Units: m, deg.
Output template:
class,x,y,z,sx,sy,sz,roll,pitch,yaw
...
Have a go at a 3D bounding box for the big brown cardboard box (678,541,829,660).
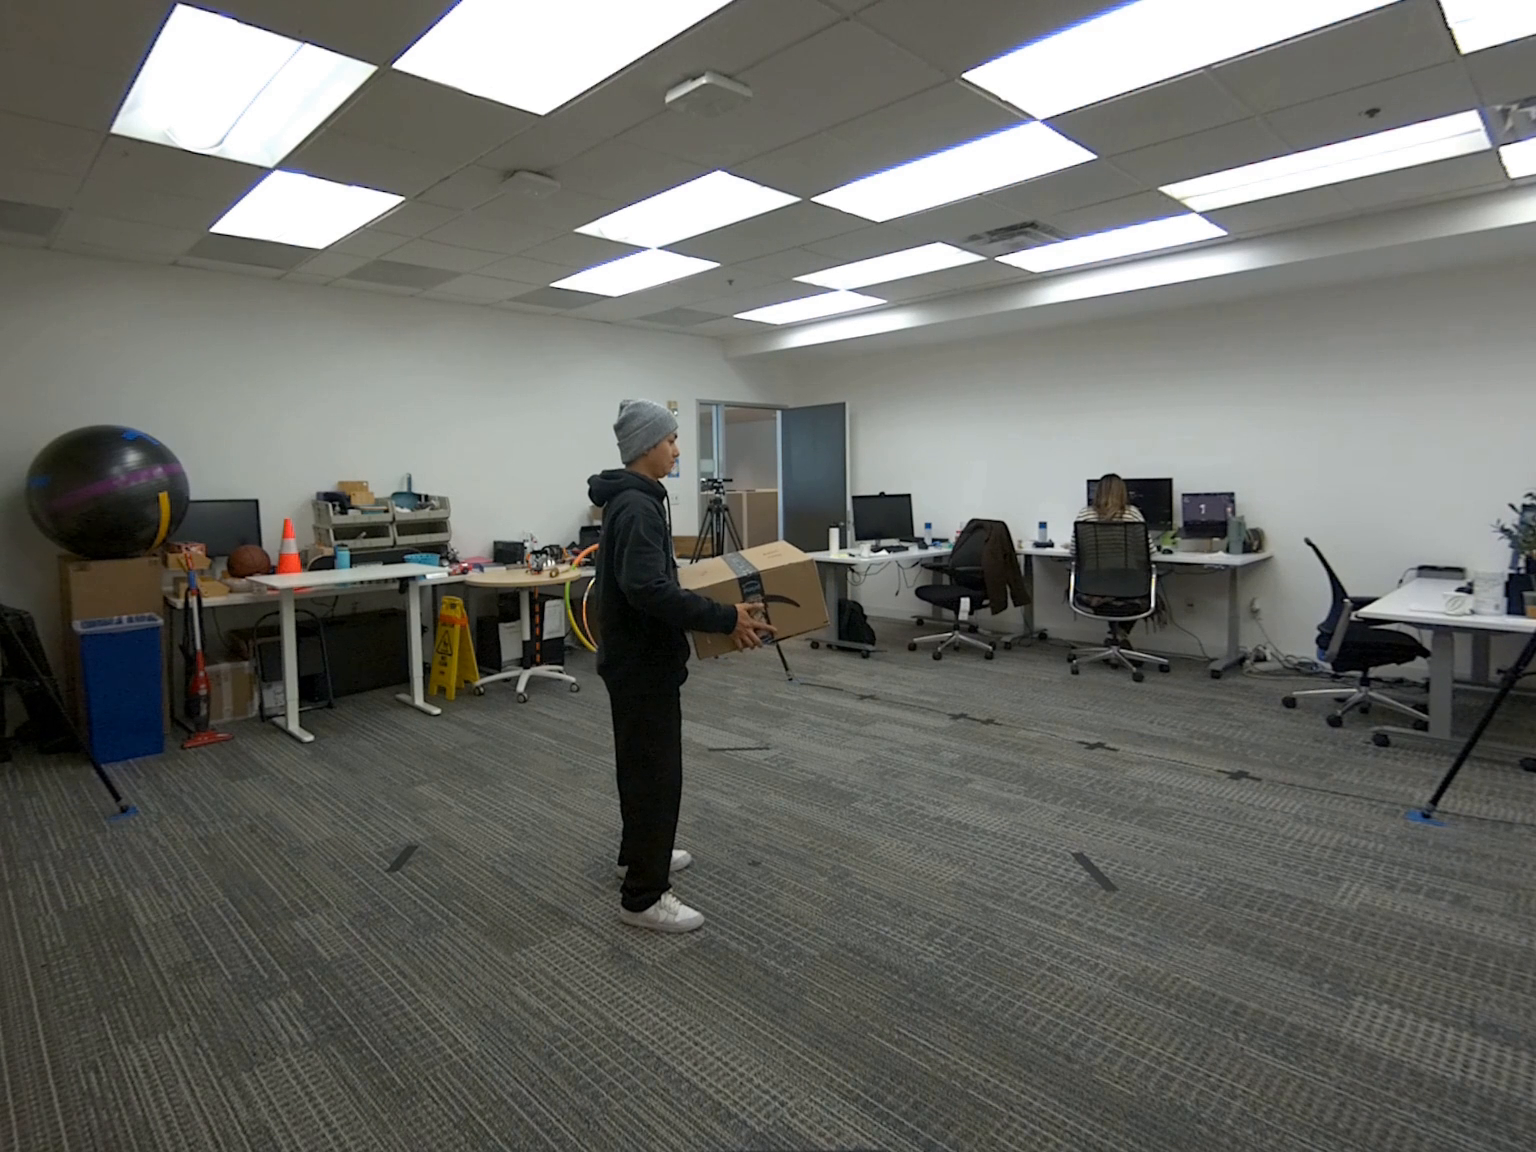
class,x,y,z,sx,sy,sz,roll,pitch,yaw
big brown cardboard box,-0.077,0.058,2.855,0.417,0.231,0.596,-12,10,-3
